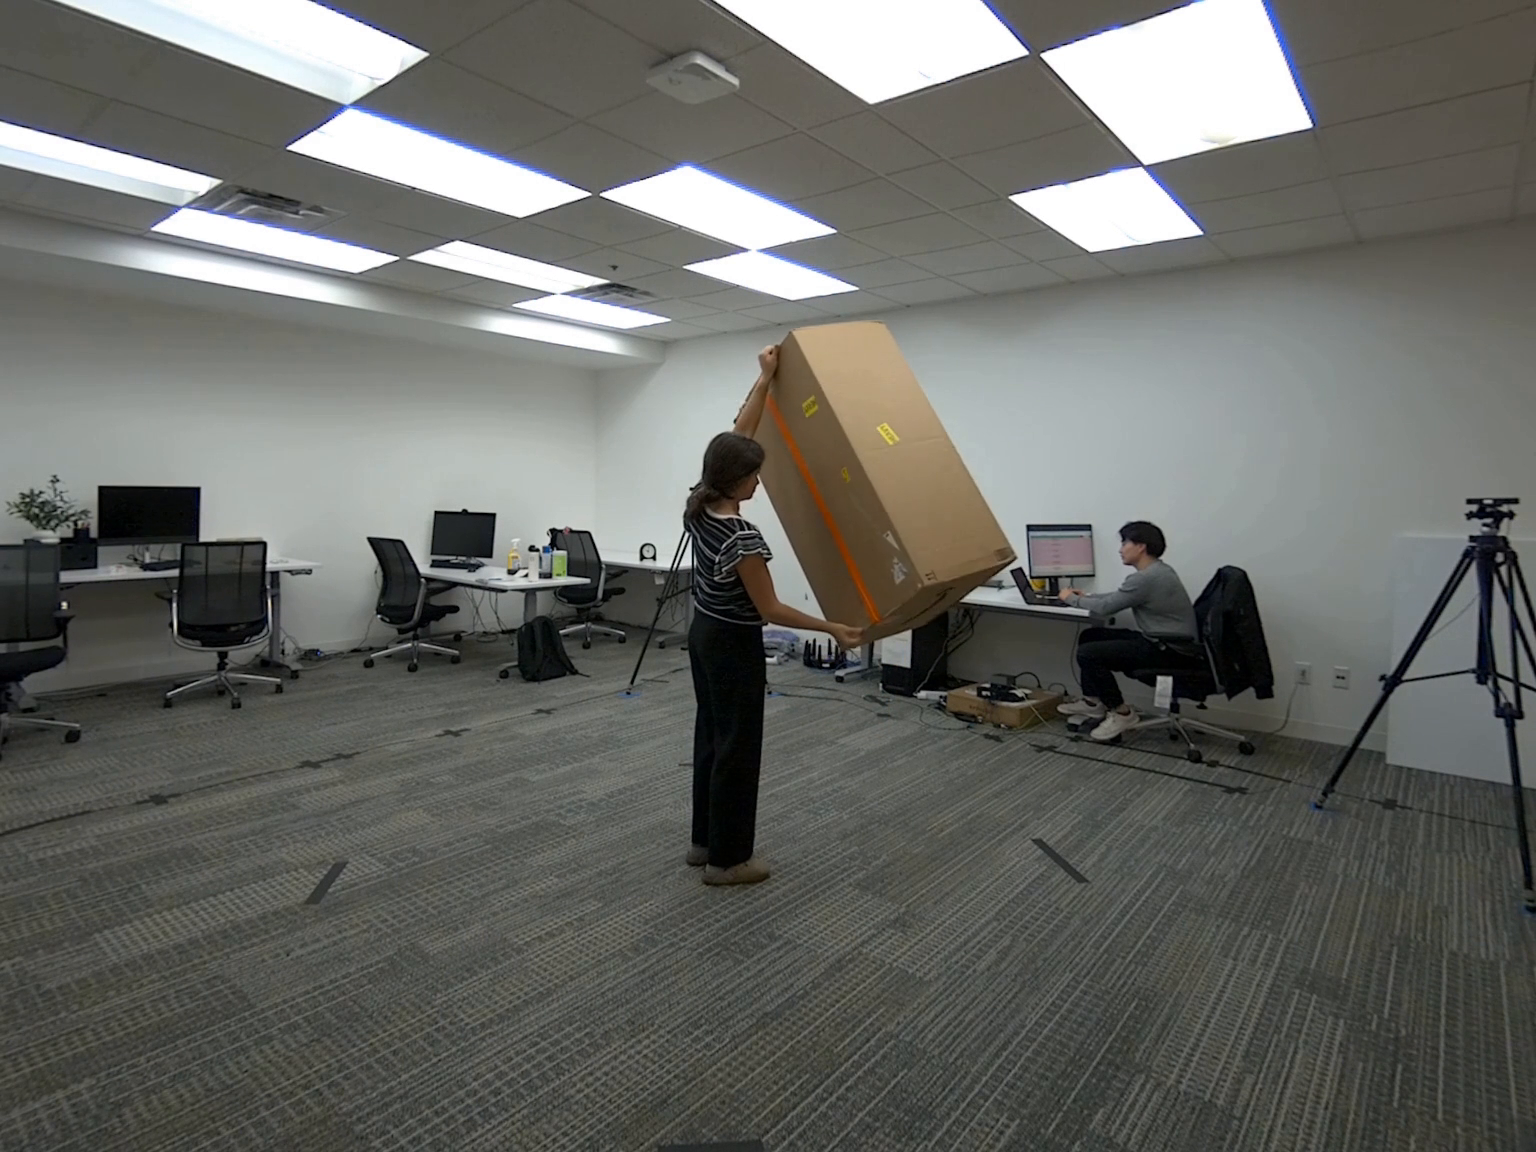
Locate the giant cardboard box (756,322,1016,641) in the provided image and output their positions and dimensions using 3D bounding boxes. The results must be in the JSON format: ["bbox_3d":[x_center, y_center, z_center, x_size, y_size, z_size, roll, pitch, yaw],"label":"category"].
[{"bbox_3d":[0.331,-0.336,3.130,0.417,1.051,0.576,-13,-21,-30],"label":"giant cardboard box"}]
